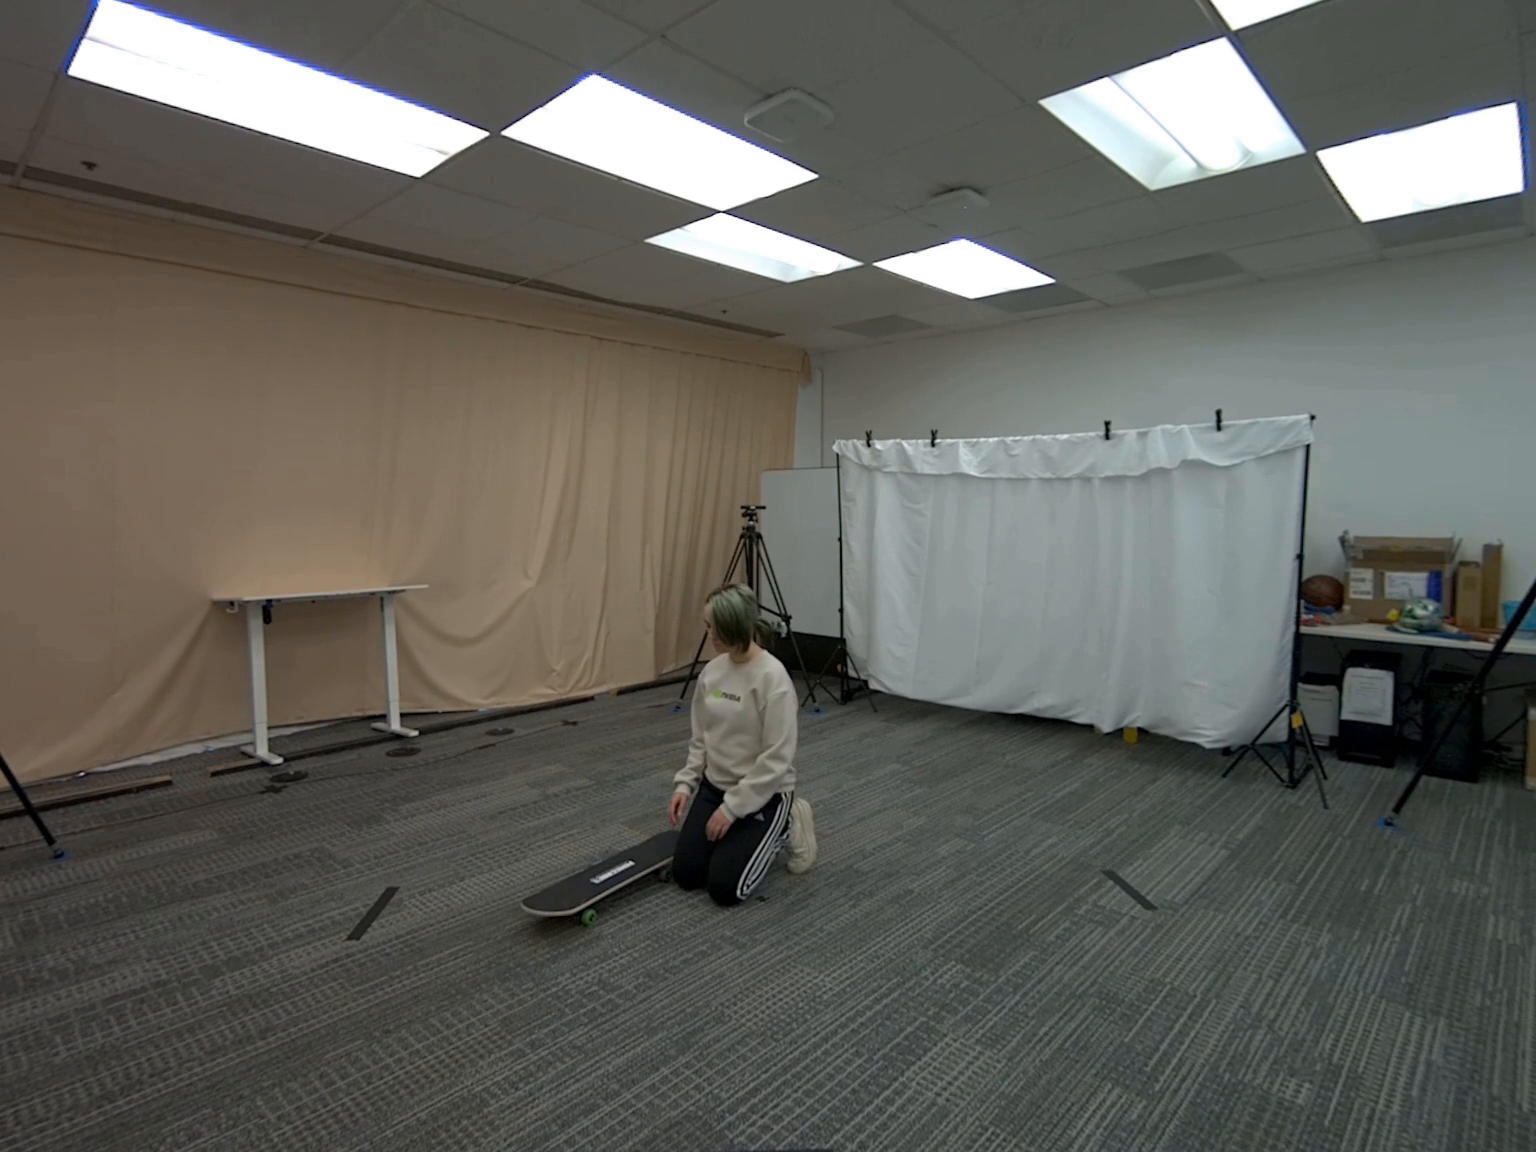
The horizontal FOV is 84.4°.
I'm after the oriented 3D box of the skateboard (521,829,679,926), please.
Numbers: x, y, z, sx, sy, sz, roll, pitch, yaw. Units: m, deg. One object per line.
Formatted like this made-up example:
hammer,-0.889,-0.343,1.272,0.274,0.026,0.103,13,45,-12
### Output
skateboard,-0.554,1.091,3.016,0.199,0.110,0.763,2,4,33
